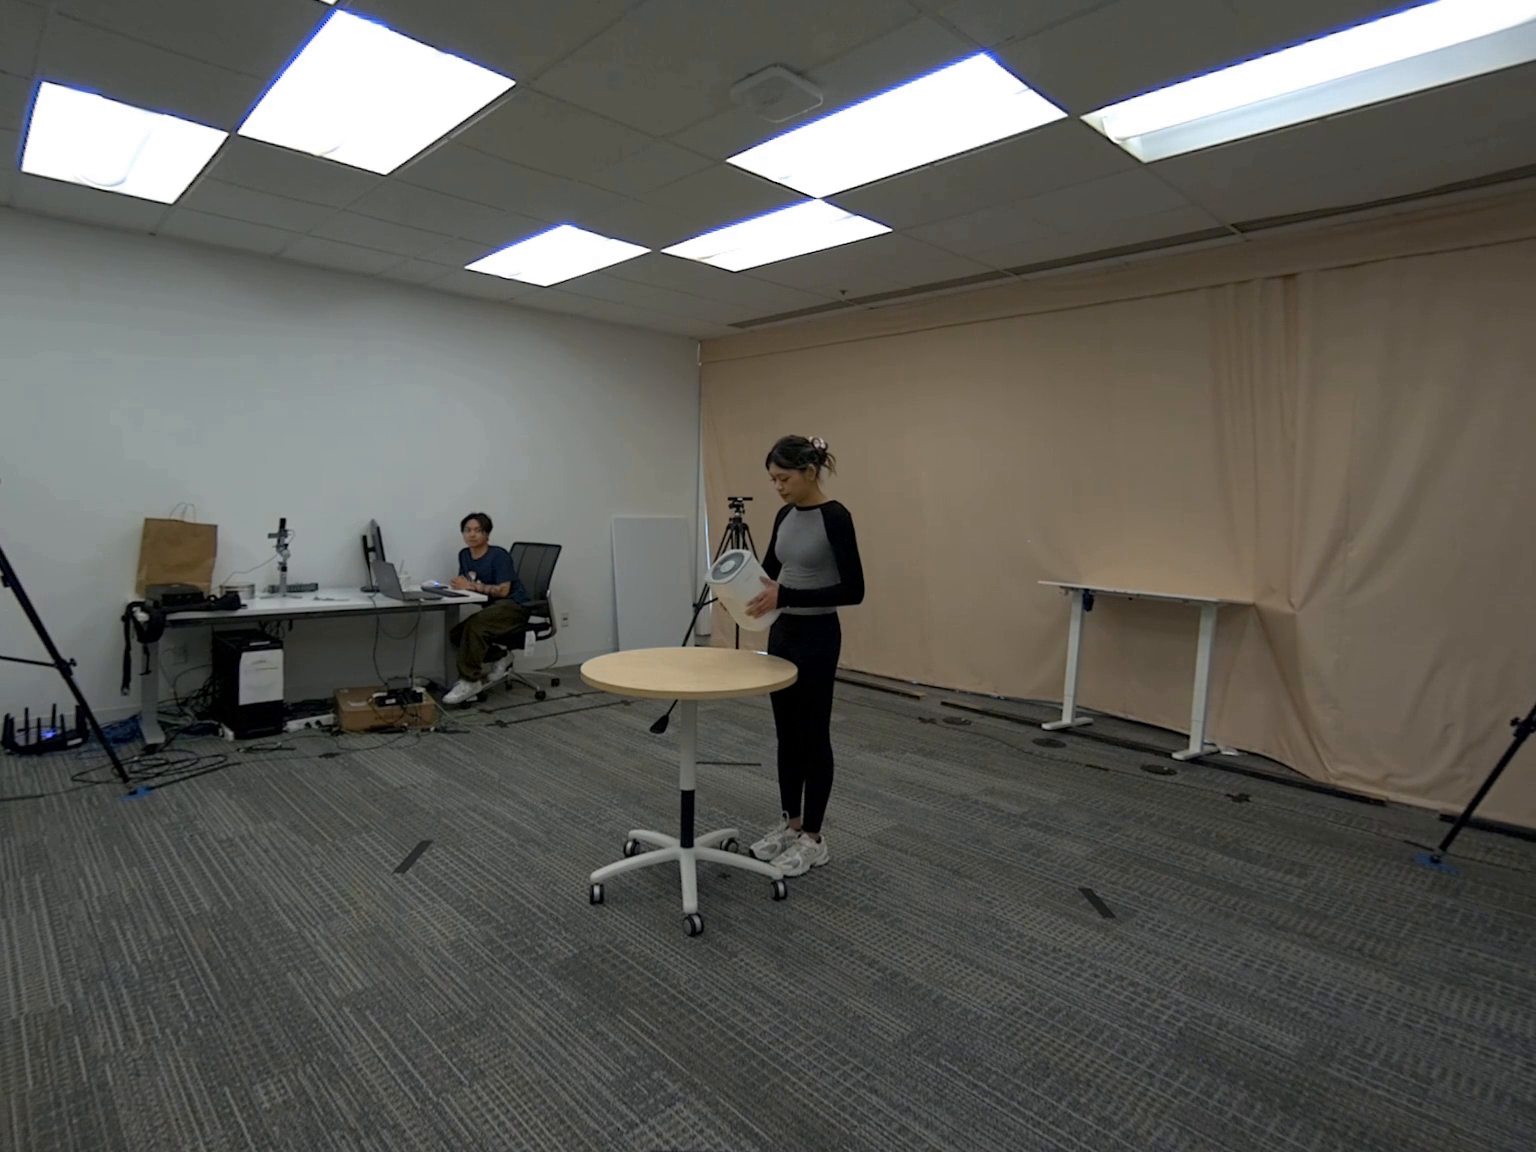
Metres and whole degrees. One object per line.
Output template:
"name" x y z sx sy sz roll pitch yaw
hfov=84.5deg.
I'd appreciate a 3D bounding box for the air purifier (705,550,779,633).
"air purifier" -0.083 0.058 3.059 0.176 0.259 0.171 3 46 51
